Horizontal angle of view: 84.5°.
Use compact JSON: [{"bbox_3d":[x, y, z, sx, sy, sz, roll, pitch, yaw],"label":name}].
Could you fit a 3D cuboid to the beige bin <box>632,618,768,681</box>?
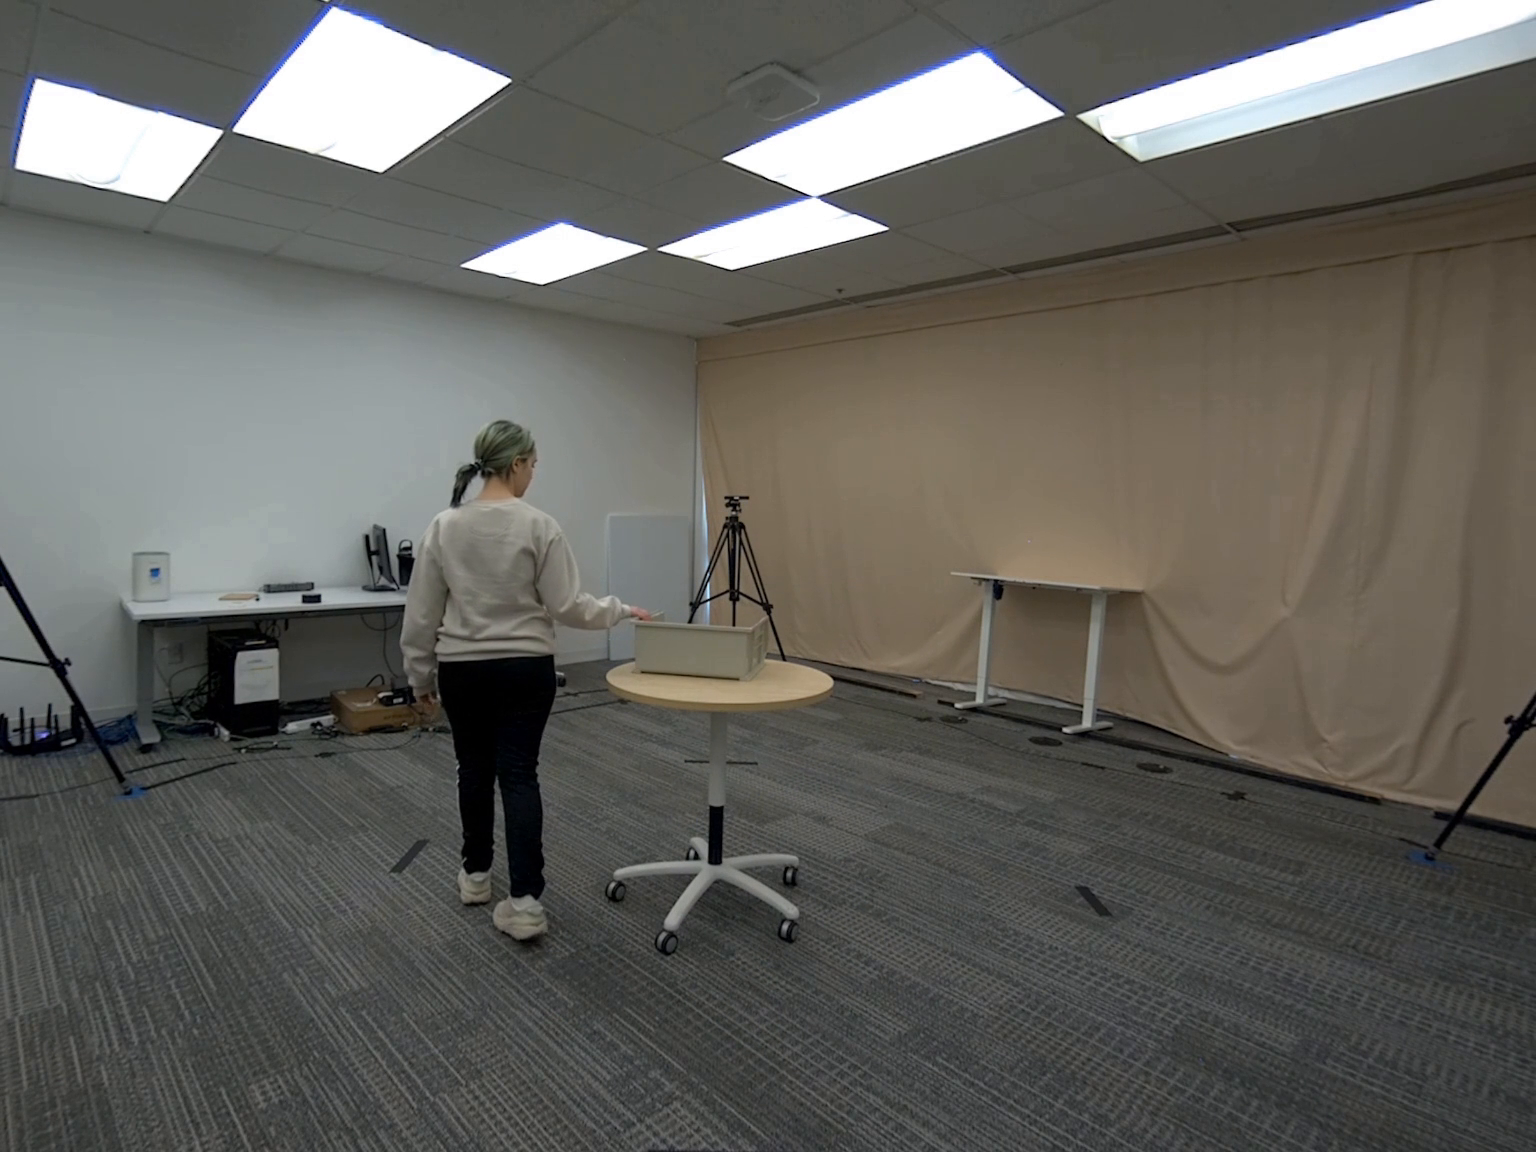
[{"bbox_3d":[-0.236,0.236,2.982,0.426,0.188,0.375,3,7,11],"label":"beige bin"}]
